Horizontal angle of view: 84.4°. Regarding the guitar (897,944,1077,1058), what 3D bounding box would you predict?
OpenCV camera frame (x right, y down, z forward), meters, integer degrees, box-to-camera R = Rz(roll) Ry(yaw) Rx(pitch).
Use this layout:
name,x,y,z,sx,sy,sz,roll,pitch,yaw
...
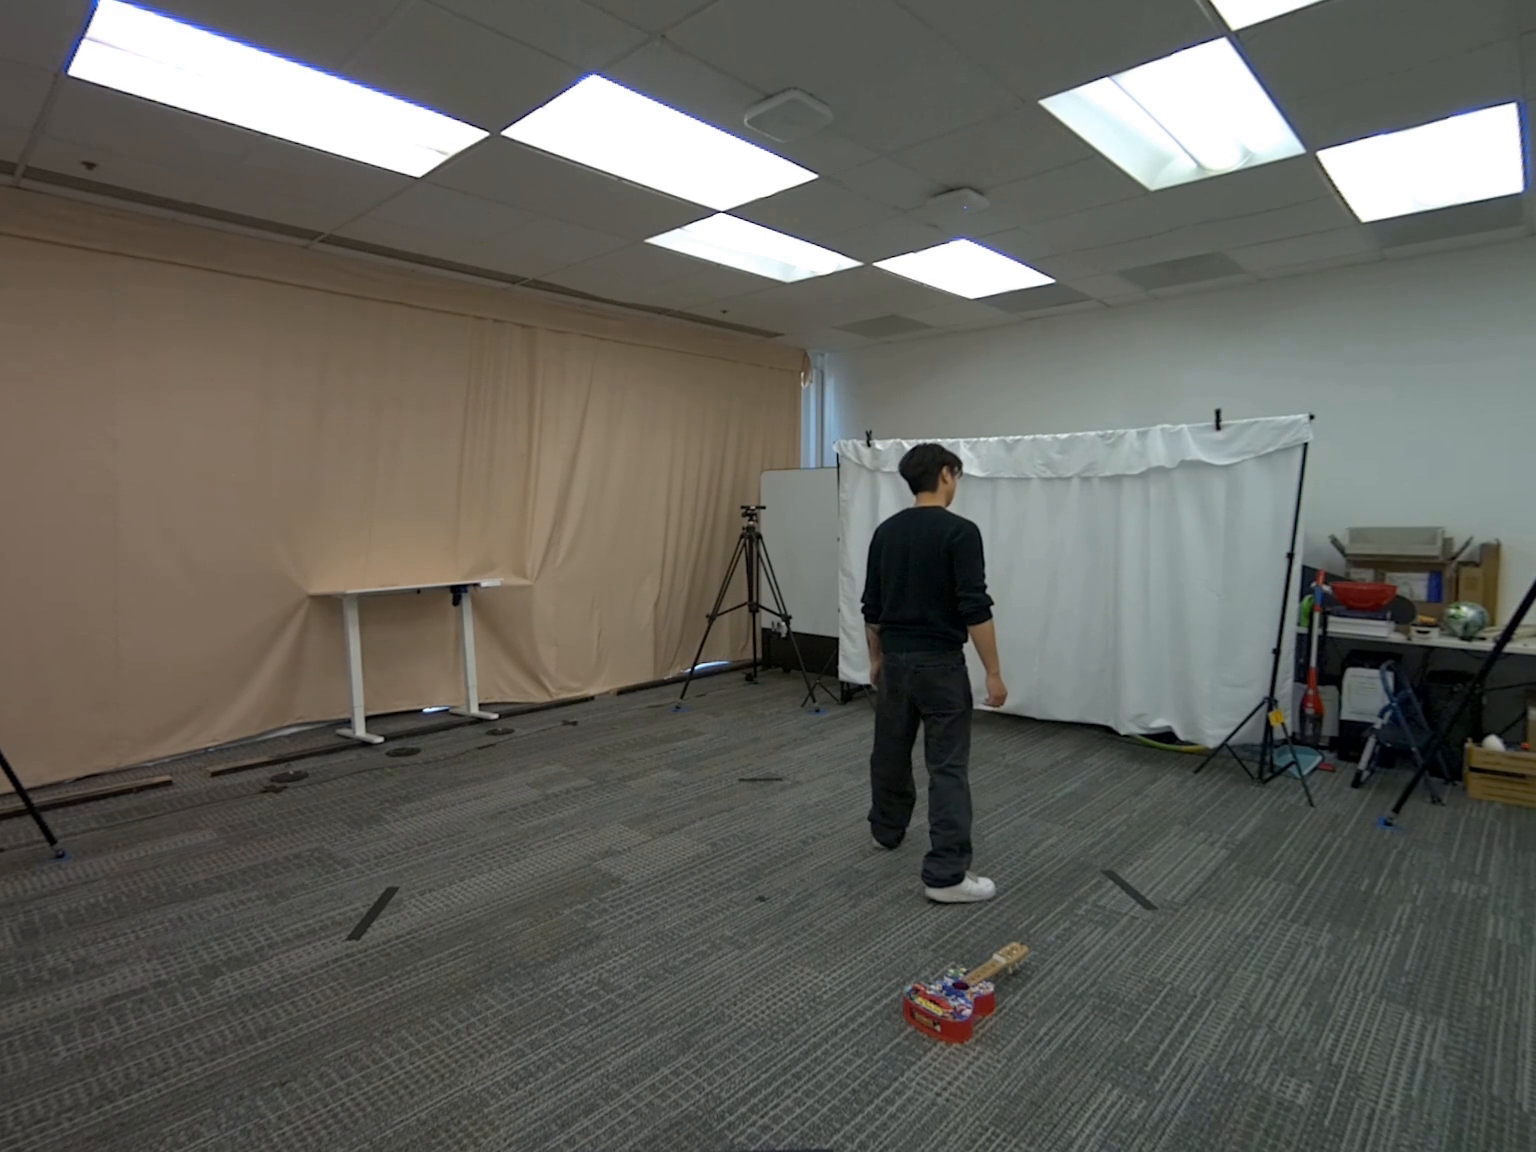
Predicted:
name,x,y,z,sx,sy,sz,roll,pitch,yaw
guitar,0.613,1.166,2.357,0.484,0.070,0.199,-3,6,-32
